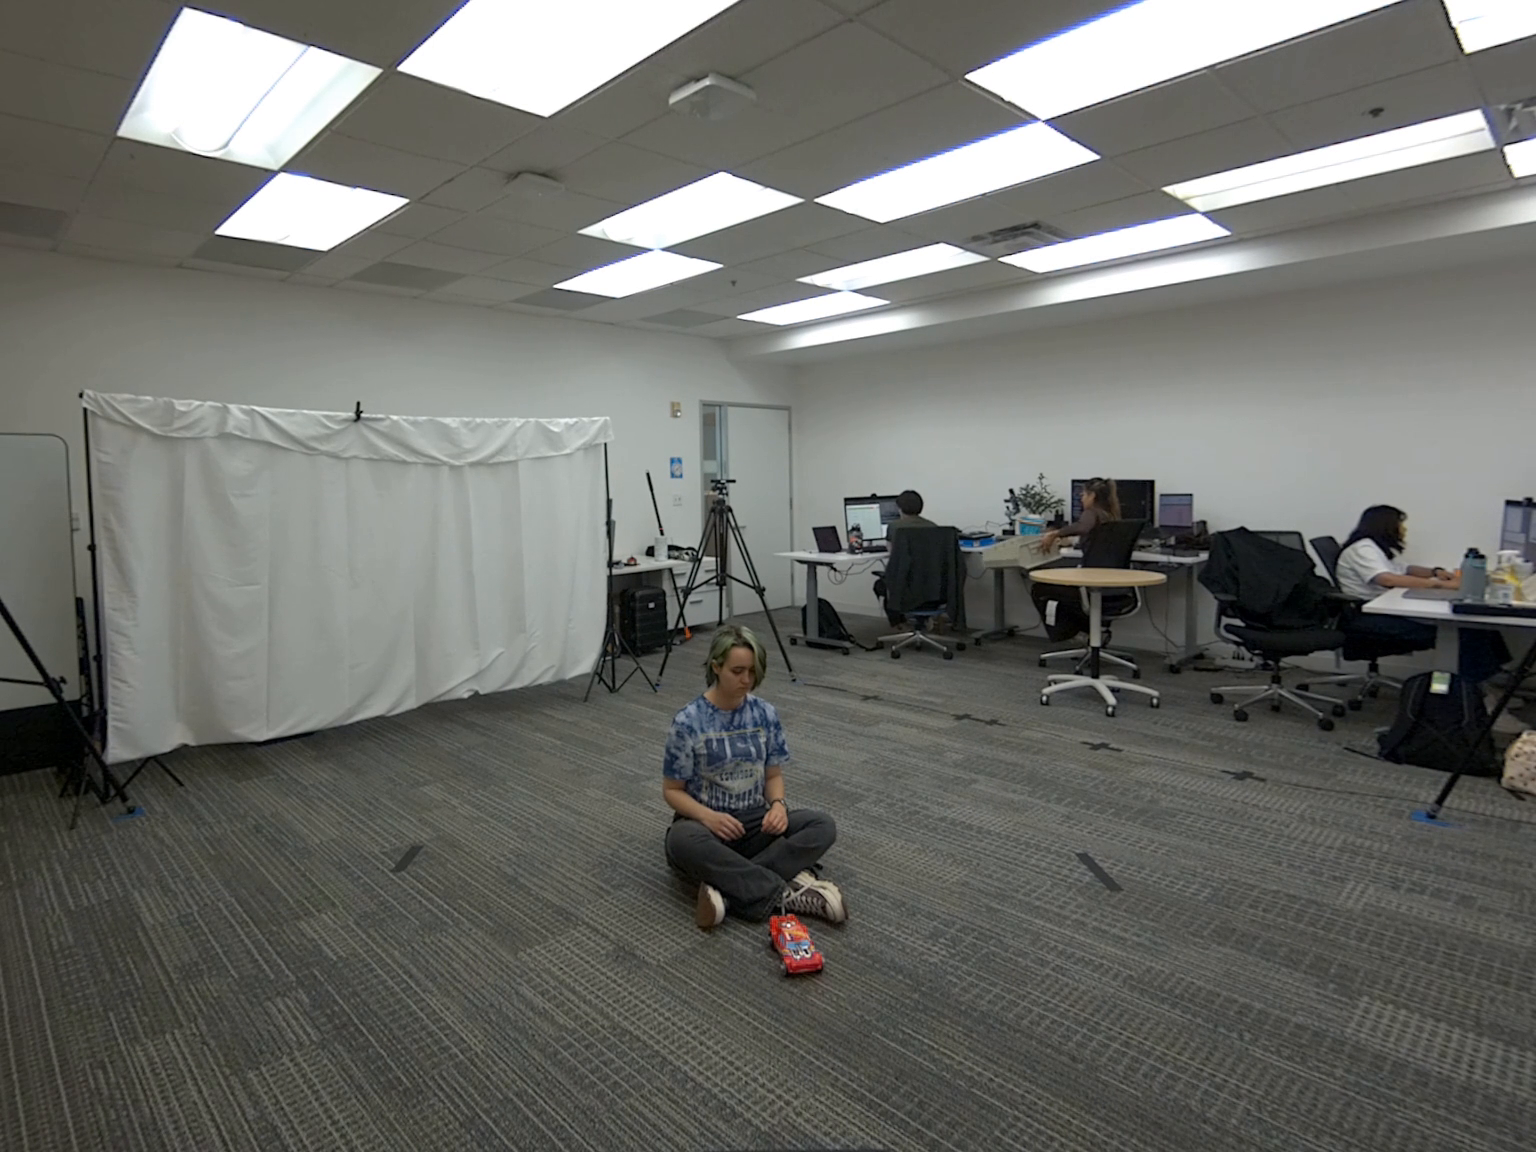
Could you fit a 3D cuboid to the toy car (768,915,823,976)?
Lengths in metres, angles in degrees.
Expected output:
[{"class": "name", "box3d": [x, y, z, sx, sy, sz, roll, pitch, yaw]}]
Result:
[{"class": "toy car", "box3d": [0.074, 1.084, 2.505, 0.129, 0.082, 0.261, -4, 17, -13]}]
